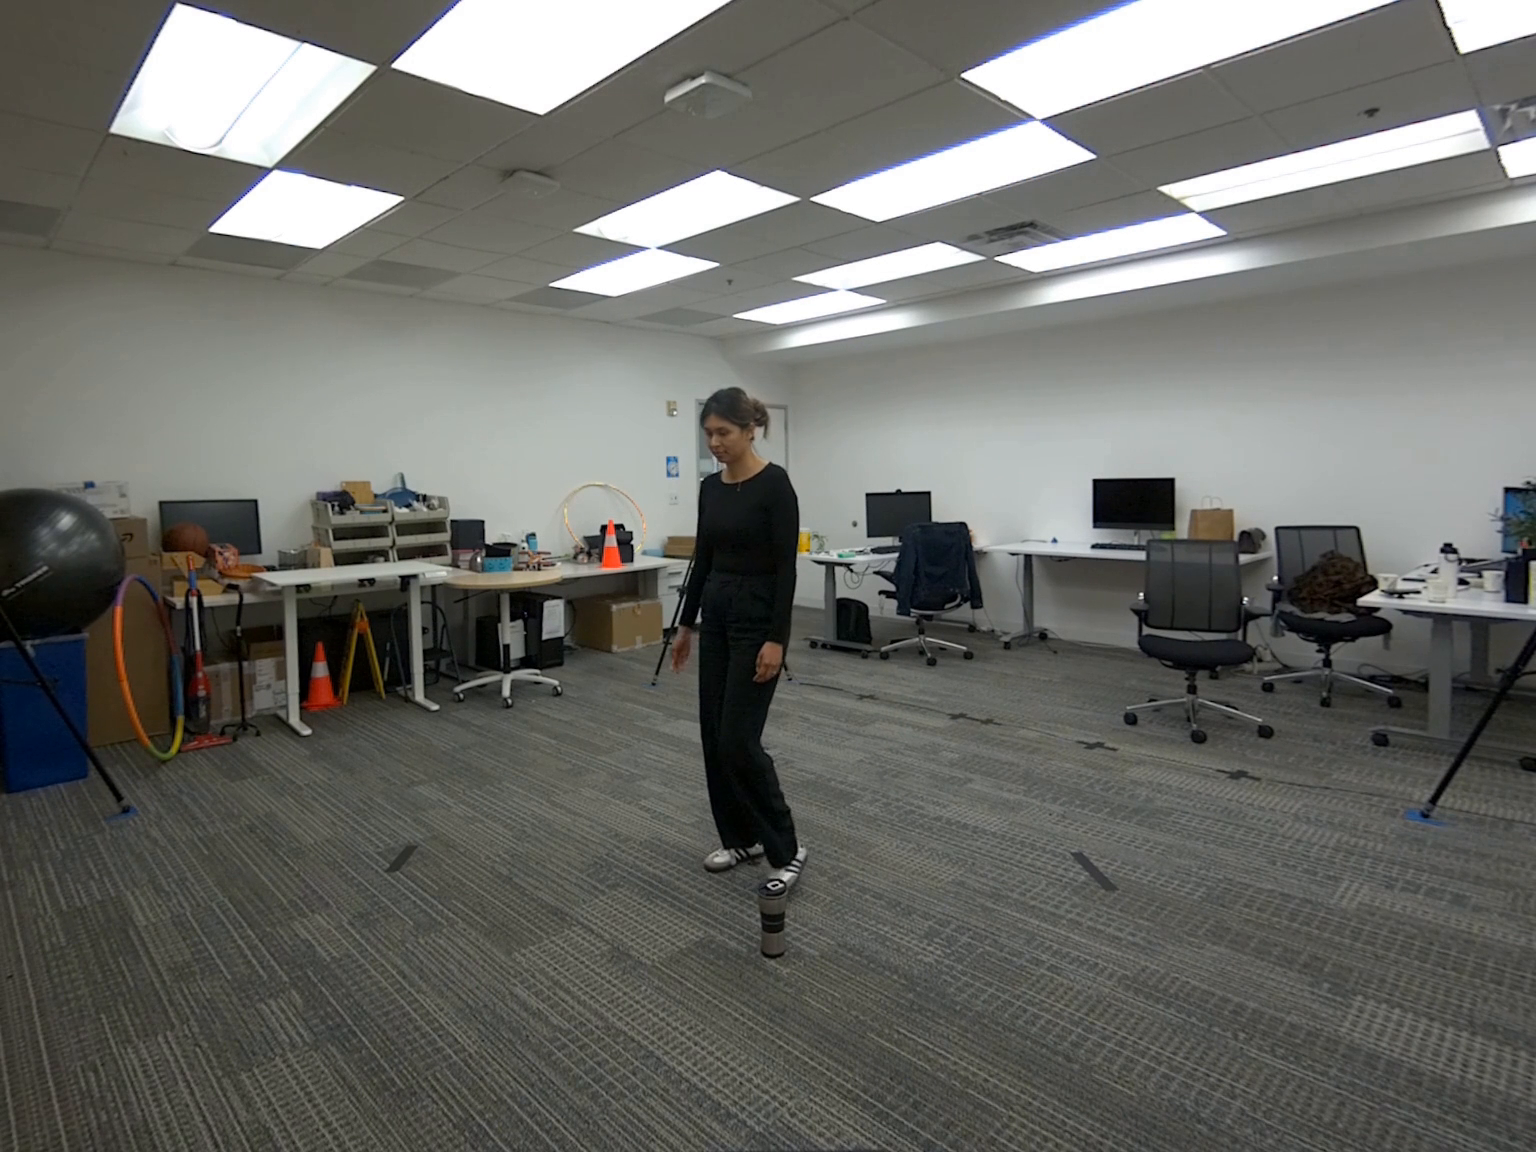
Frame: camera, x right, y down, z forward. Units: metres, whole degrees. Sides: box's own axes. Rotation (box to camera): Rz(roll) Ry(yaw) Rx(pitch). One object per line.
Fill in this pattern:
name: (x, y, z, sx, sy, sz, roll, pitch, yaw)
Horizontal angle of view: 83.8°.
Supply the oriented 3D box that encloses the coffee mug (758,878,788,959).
coffee mug: (0.030, 1.016, 2.532, 0.090, 0.202, 0.119, -2, 6, 41)
